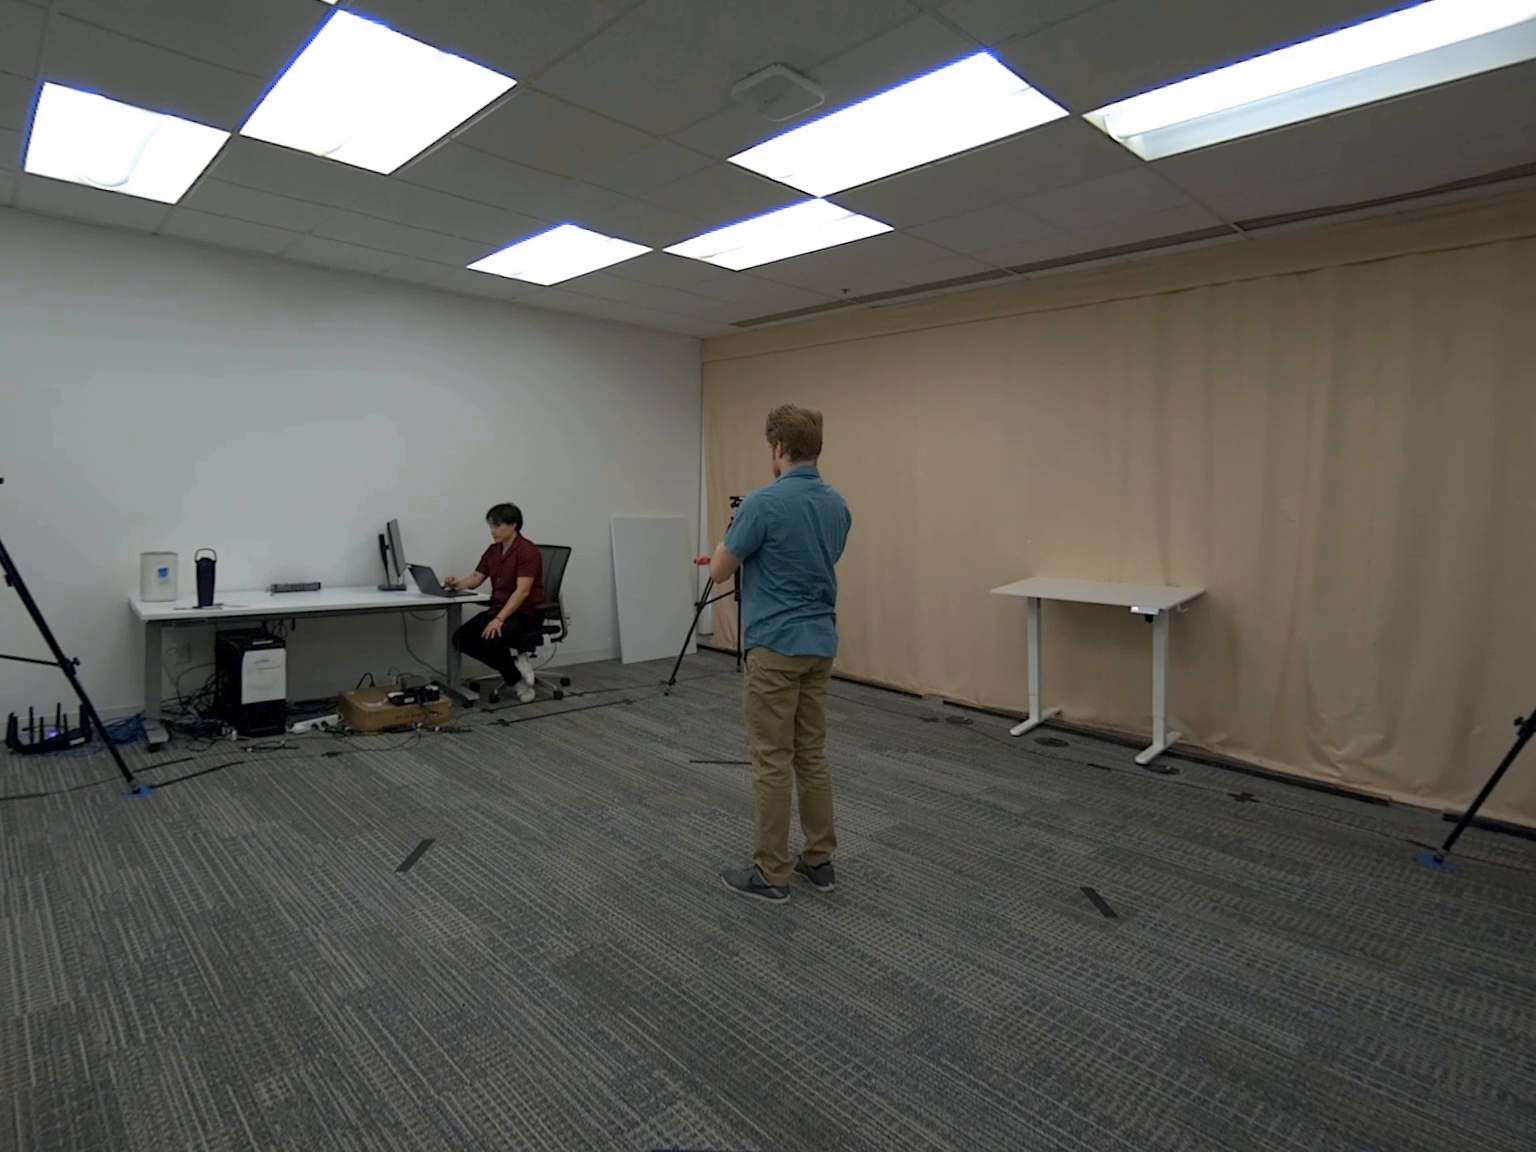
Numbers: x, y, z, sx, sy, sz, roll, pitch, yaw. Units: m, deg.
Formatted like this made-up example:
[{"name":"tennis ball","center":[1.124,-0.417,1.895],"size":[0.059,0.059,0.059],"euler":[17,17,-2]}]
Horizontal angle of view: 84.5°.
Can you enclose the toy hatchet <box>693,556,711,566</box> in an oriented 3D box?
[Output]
[{"name":"toy hatchet","center":[-0.174,-0.057,3.371],"size":[0.265,0.030,0.132],"euler":[2,-7,-23]}]
